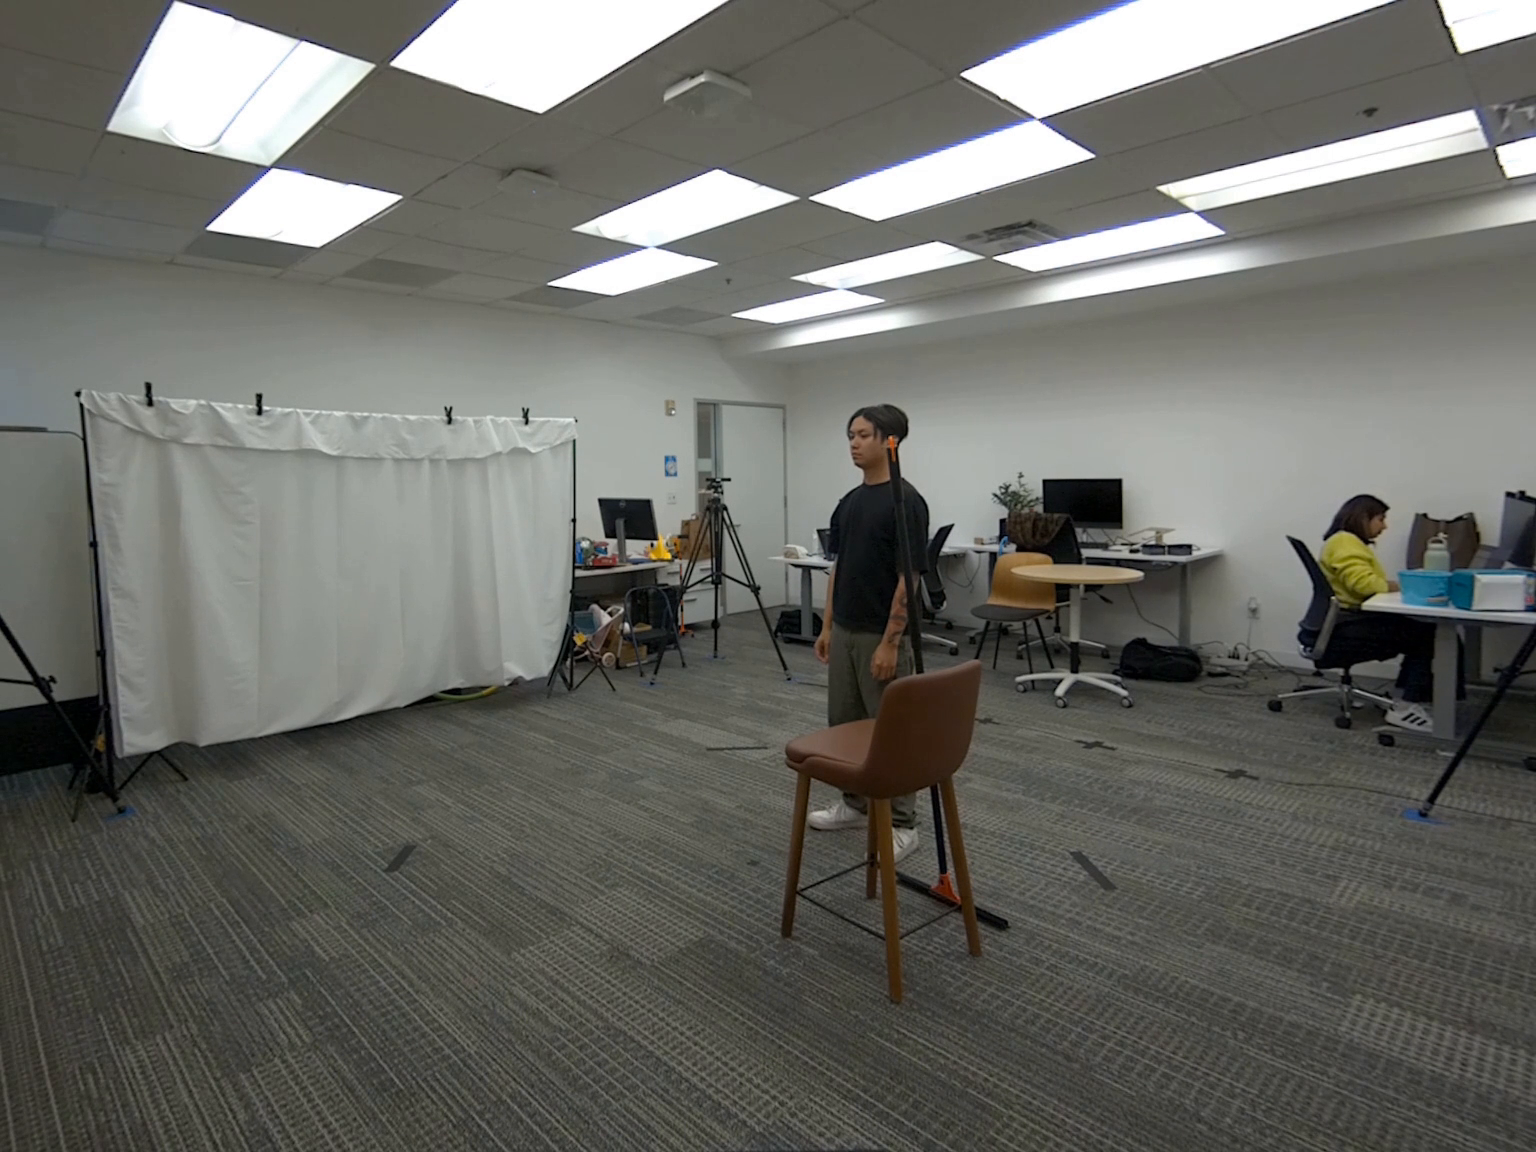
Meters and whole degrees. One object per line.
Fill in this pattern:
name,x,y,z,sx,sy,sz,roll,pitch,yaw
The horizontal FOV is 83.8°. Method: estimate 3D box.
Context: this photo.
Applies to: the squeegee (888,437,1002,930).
squeegee,0.471,0.326,2.645,0.052,1.521,0.450,-12,12,-28
